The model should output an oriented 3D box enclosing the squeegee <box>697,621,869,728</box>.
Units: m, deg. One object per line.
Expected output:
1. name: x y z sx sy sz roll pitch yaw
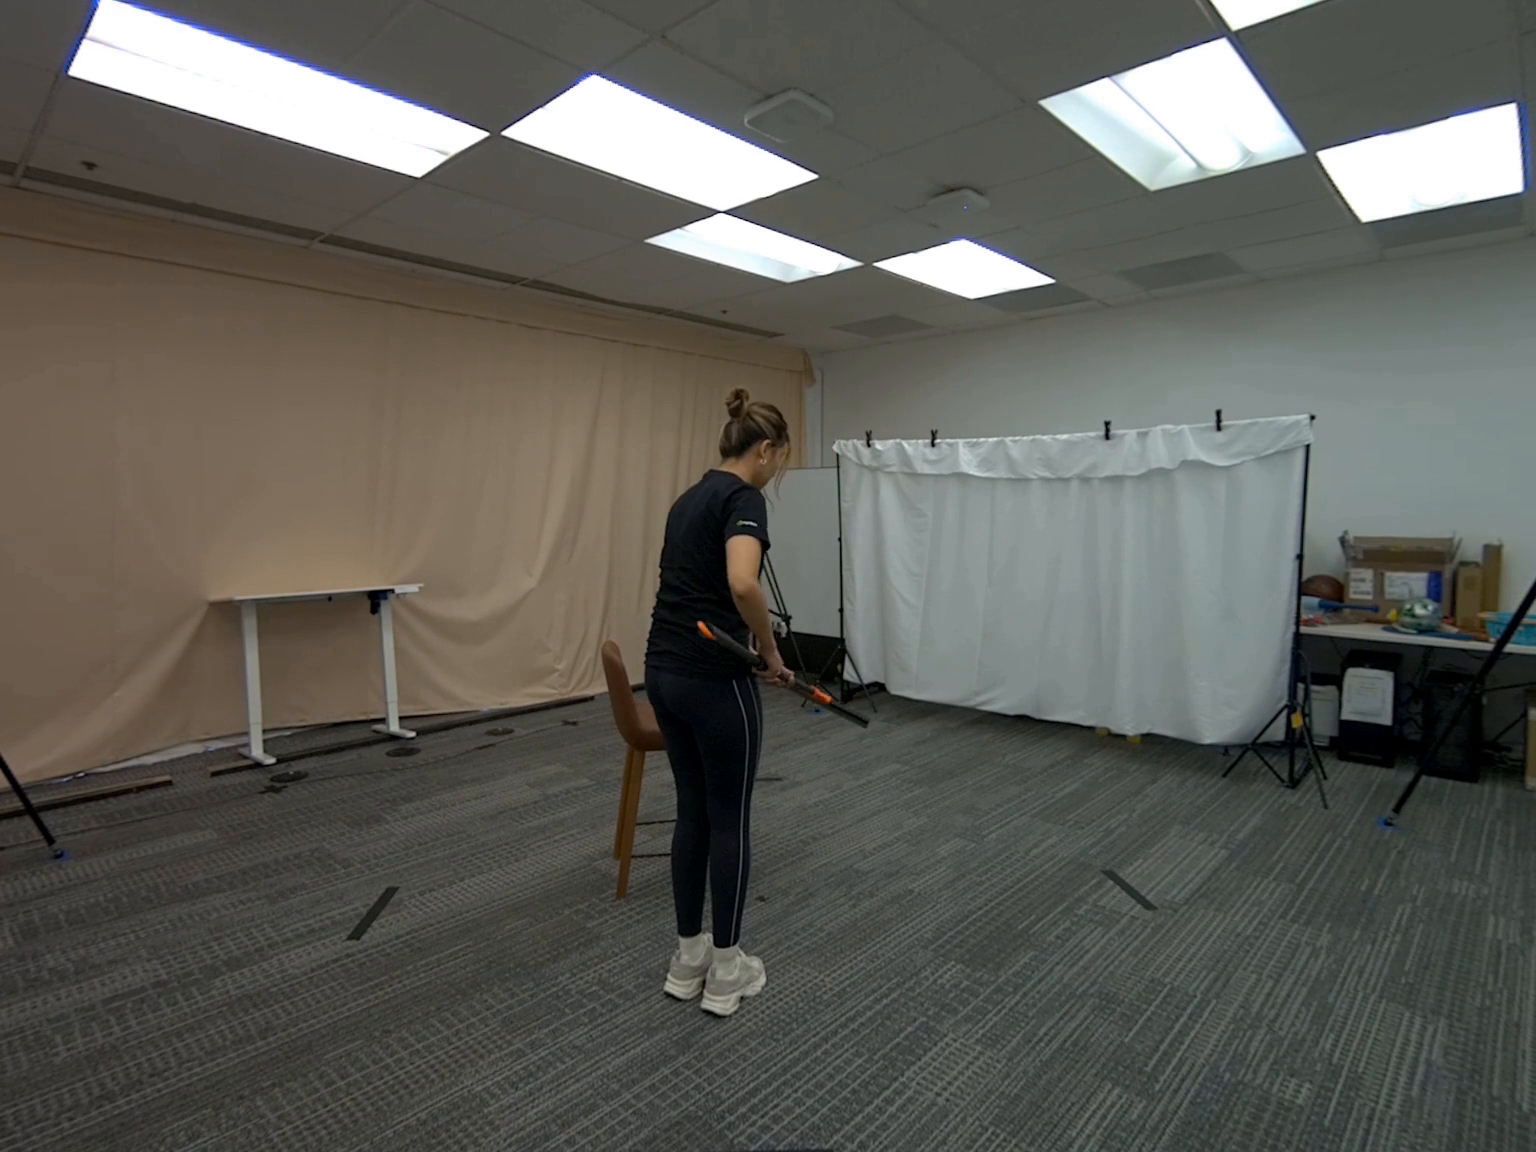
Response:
1. squeegee: 0.053 0.305 2.460 0.446 0.053 1.505 23 -6 15
